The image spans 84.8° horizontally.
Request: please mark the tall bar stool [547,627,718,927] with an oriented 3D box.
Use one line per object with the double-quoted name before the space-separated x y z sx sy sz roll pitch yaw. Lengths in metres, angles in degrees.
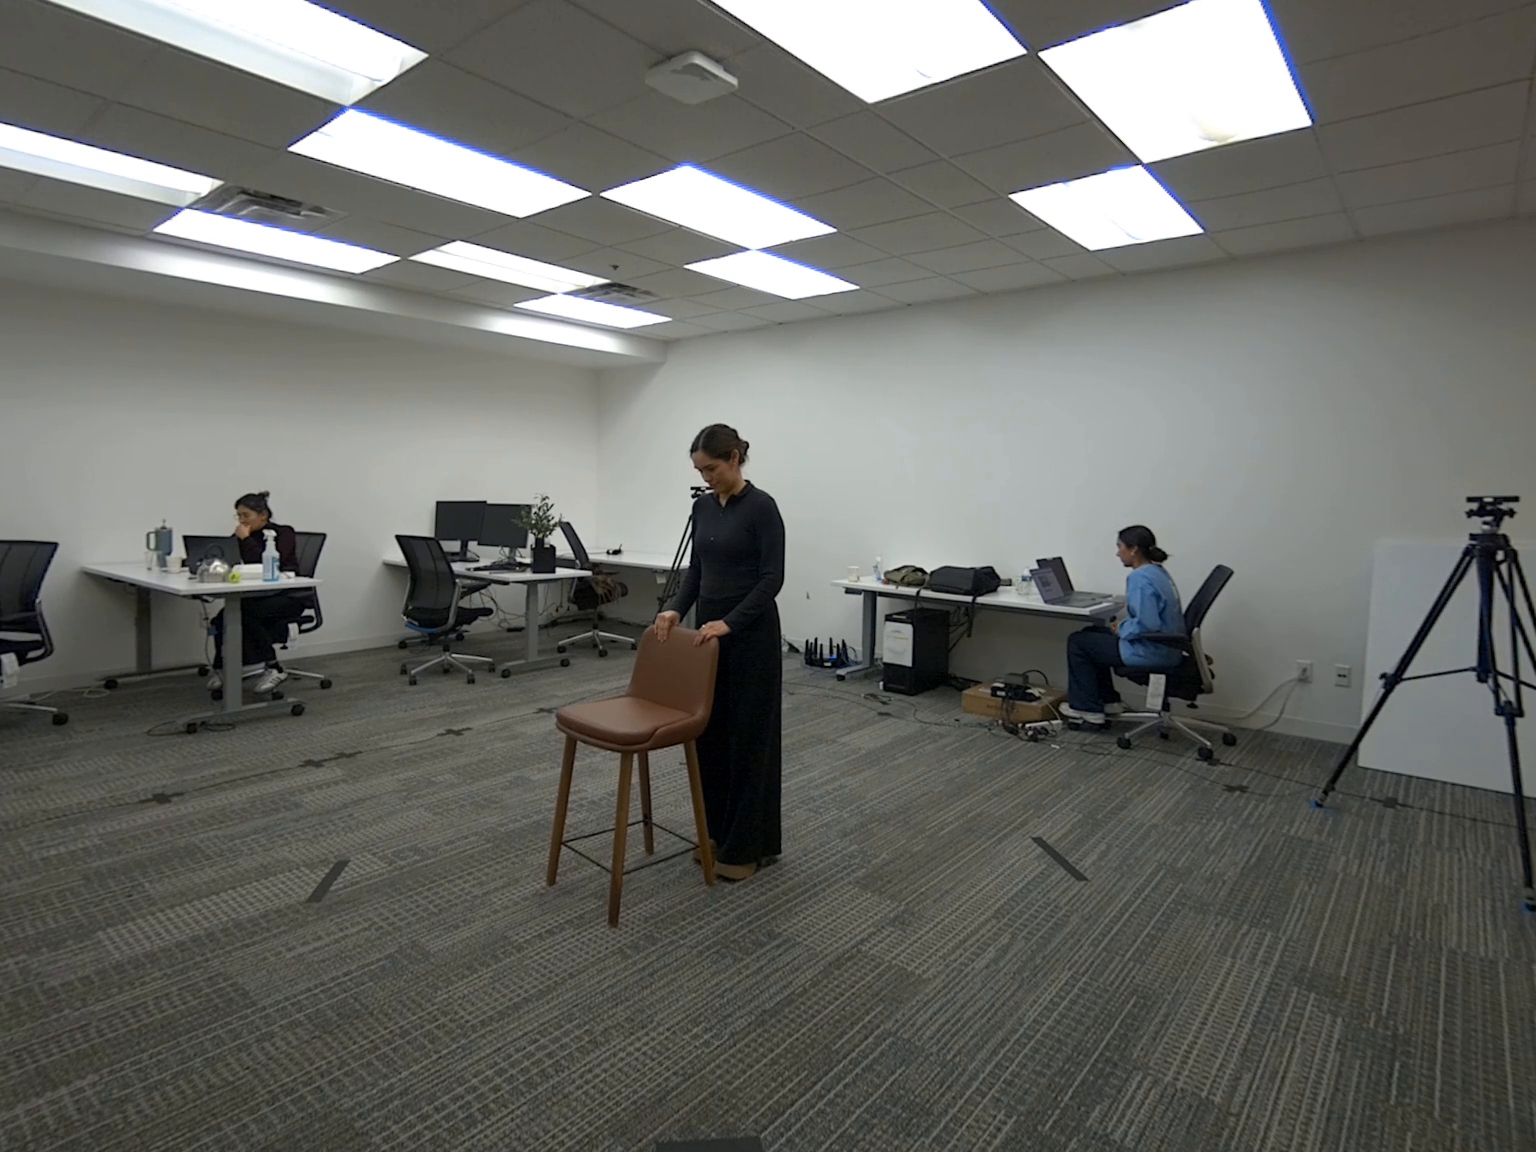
"tall bar stool" -0.468 0.637 2.954 0.452 0.889 0.472 1 2 -44
